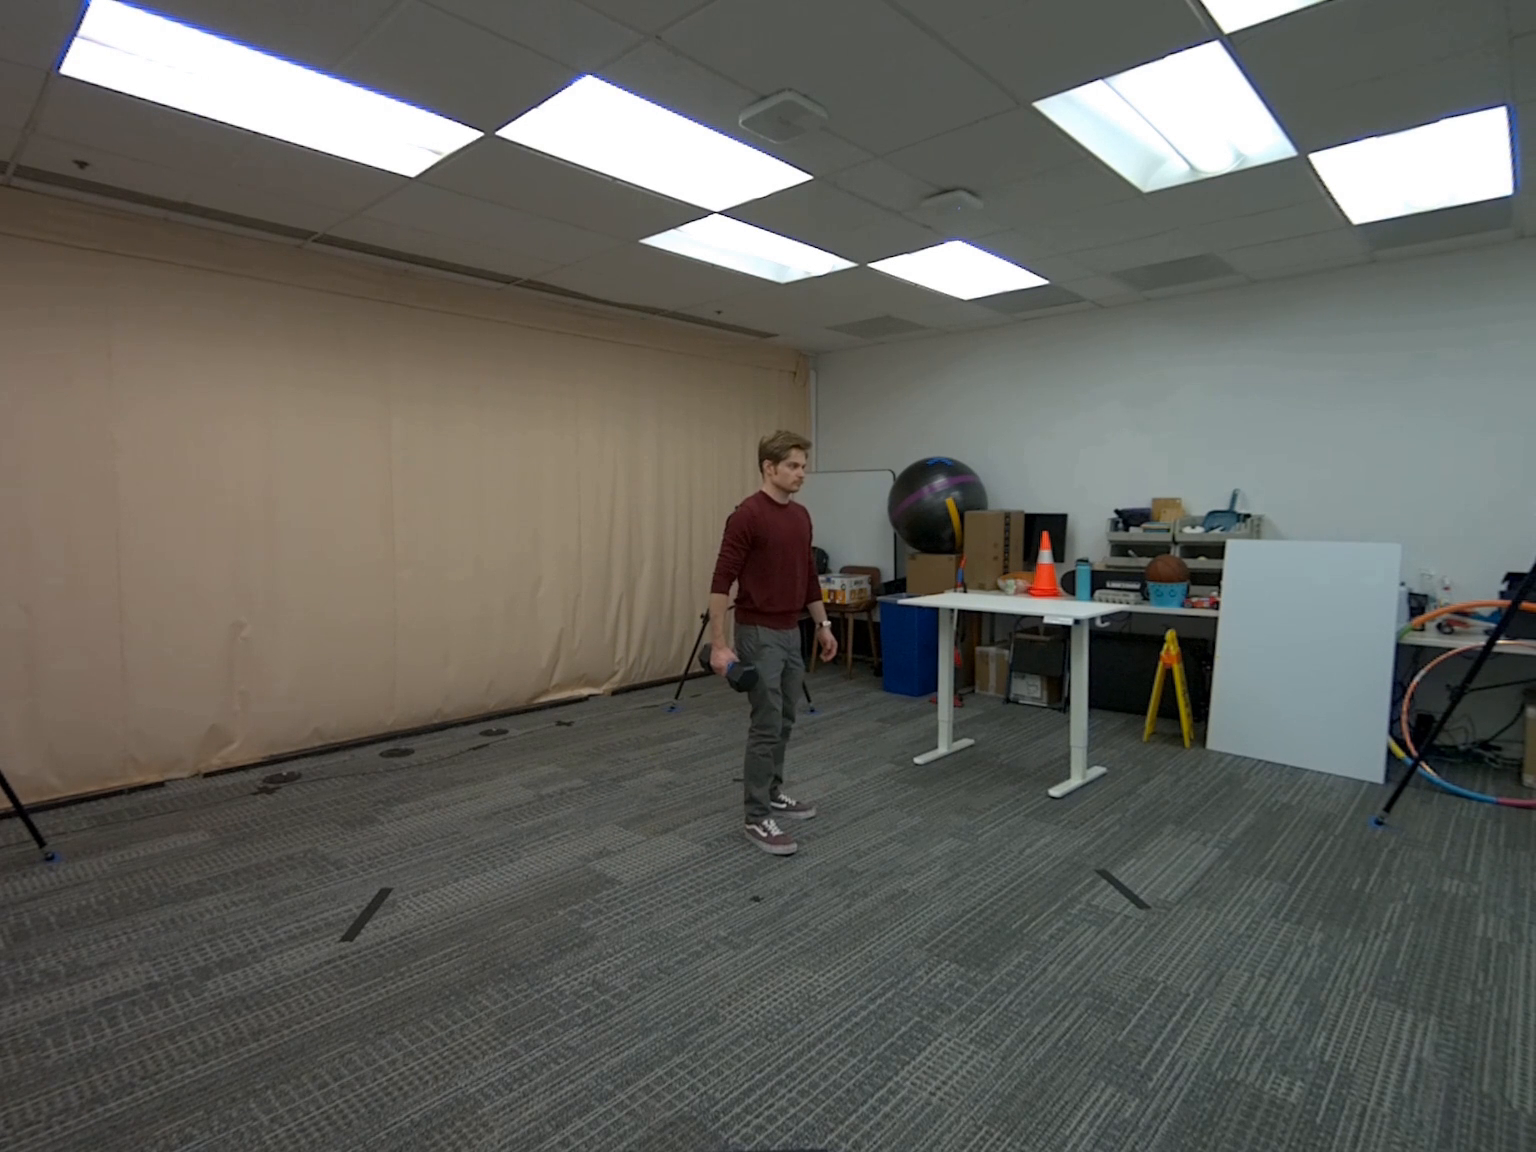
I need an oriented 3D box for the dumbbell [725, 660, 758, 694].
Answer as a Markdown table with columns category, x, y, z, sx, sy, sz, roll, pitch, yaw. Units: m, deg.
| category | x | y | z | sx | sy | sz | roll | pitch | yaw |
| --- | --- | --- | --- | --- | --- | --- | --- | --- | --- |
| dumbbell | -0.154 | 0.372 | 3.426 | 0.107 | 0.120 | 0.304 | -34 | 33 | -23 |
